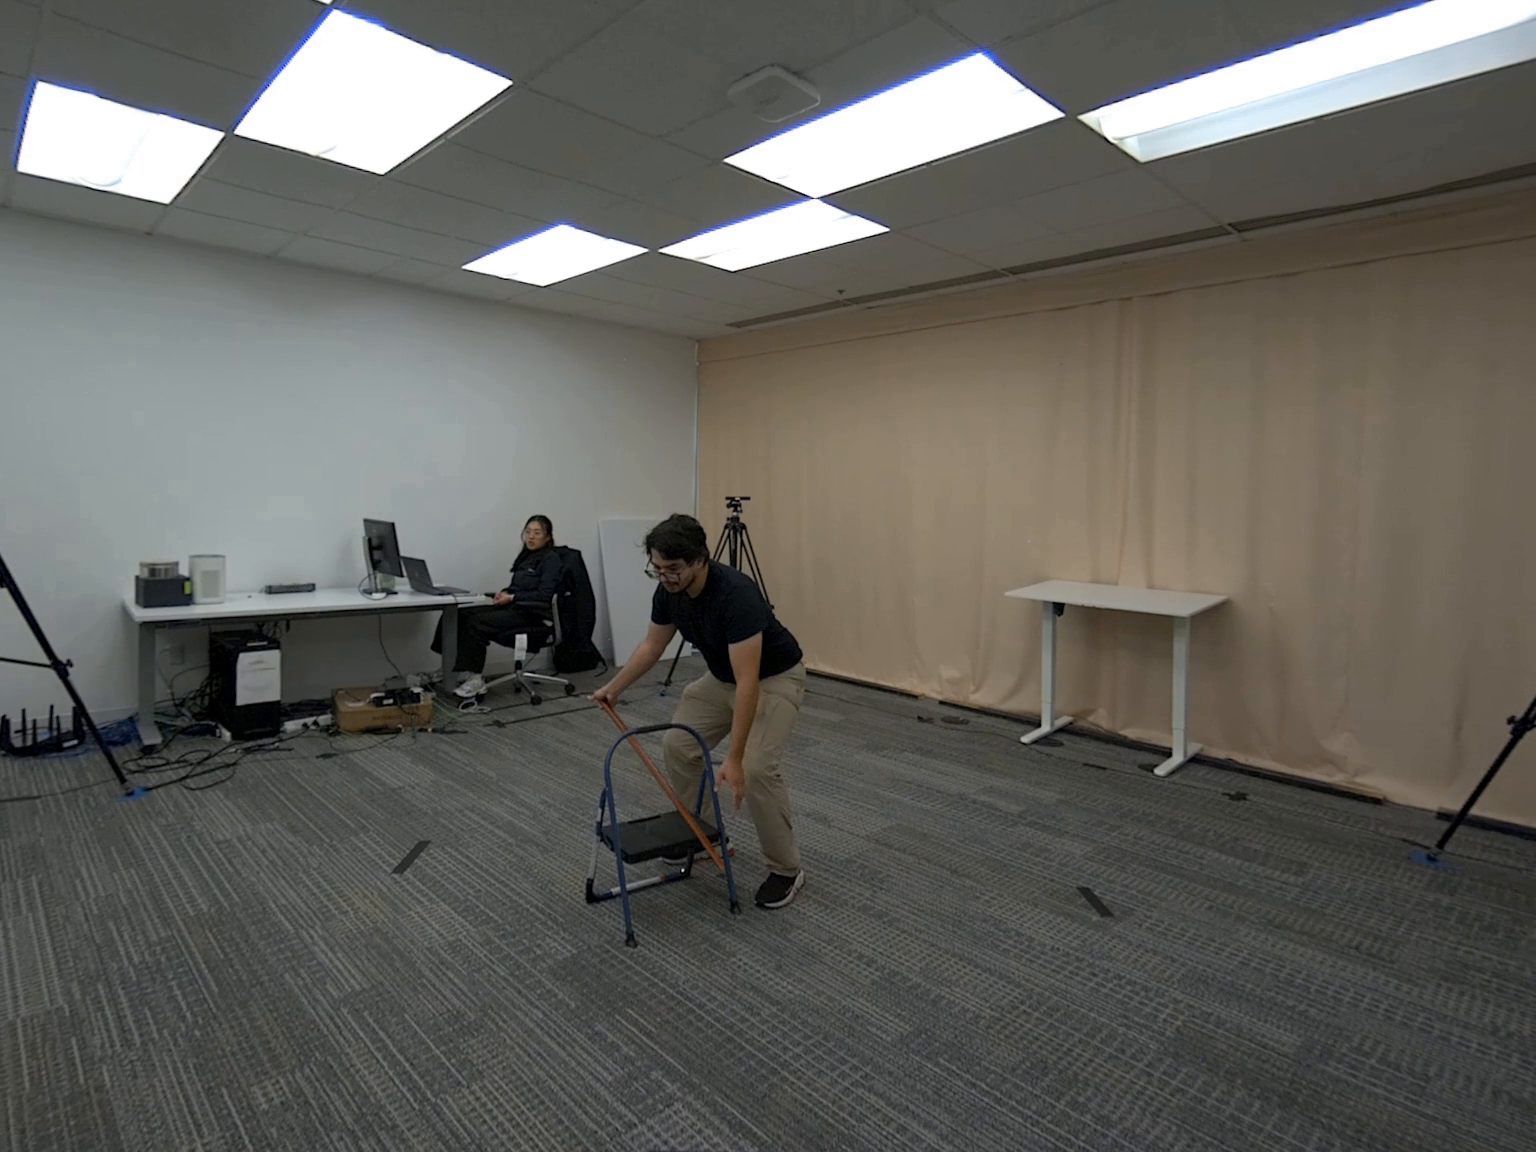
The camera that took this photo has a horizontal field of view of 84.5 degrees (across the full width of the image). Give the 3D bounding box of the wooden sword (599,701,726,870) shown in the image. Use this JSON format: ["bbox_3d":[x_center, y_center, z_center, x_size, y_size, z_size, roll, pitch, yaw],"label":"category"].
[{"bbox_3d":[-0.406,0.706,2.946,0.050,0.024,1.058,22,10,-40],"label":"wooden sword"}]
